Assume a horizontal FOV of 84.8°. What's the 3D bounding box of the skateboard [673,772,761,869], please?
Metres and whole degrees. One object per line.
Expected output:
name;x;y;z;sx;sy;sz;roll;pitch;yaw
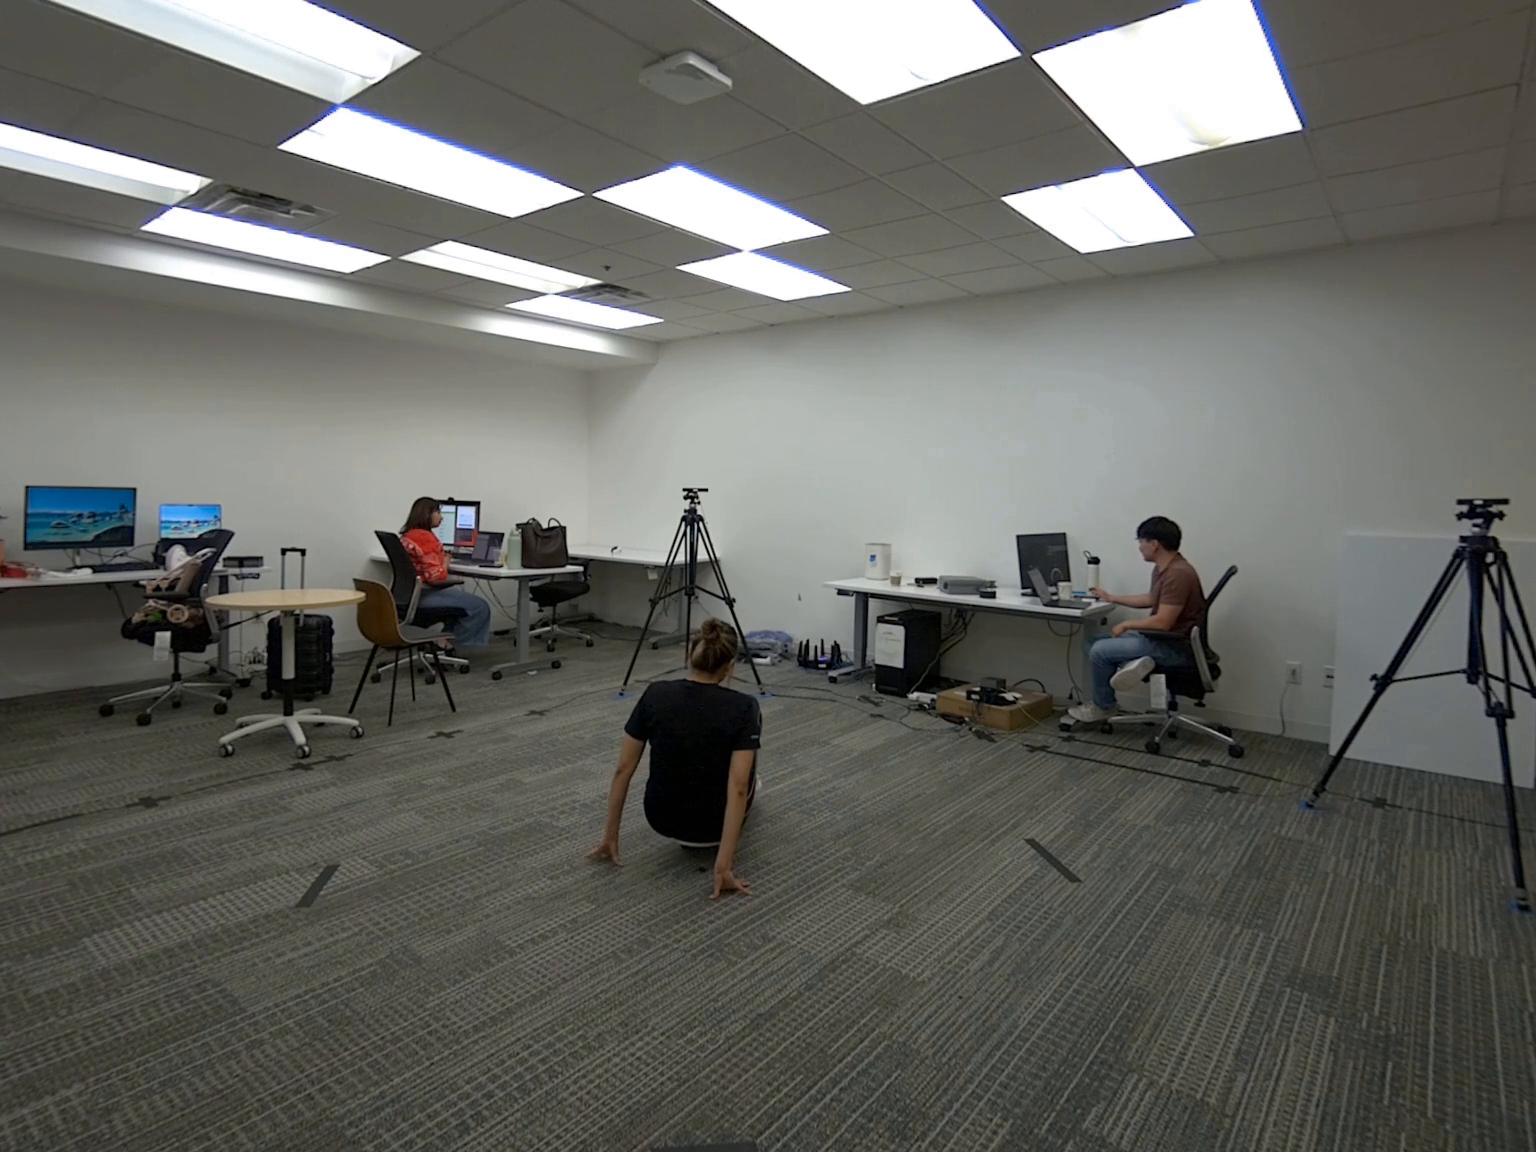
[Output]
skateboard;-0.220;0.984;3.471;0.196;0.110;0.779;5;7;9
